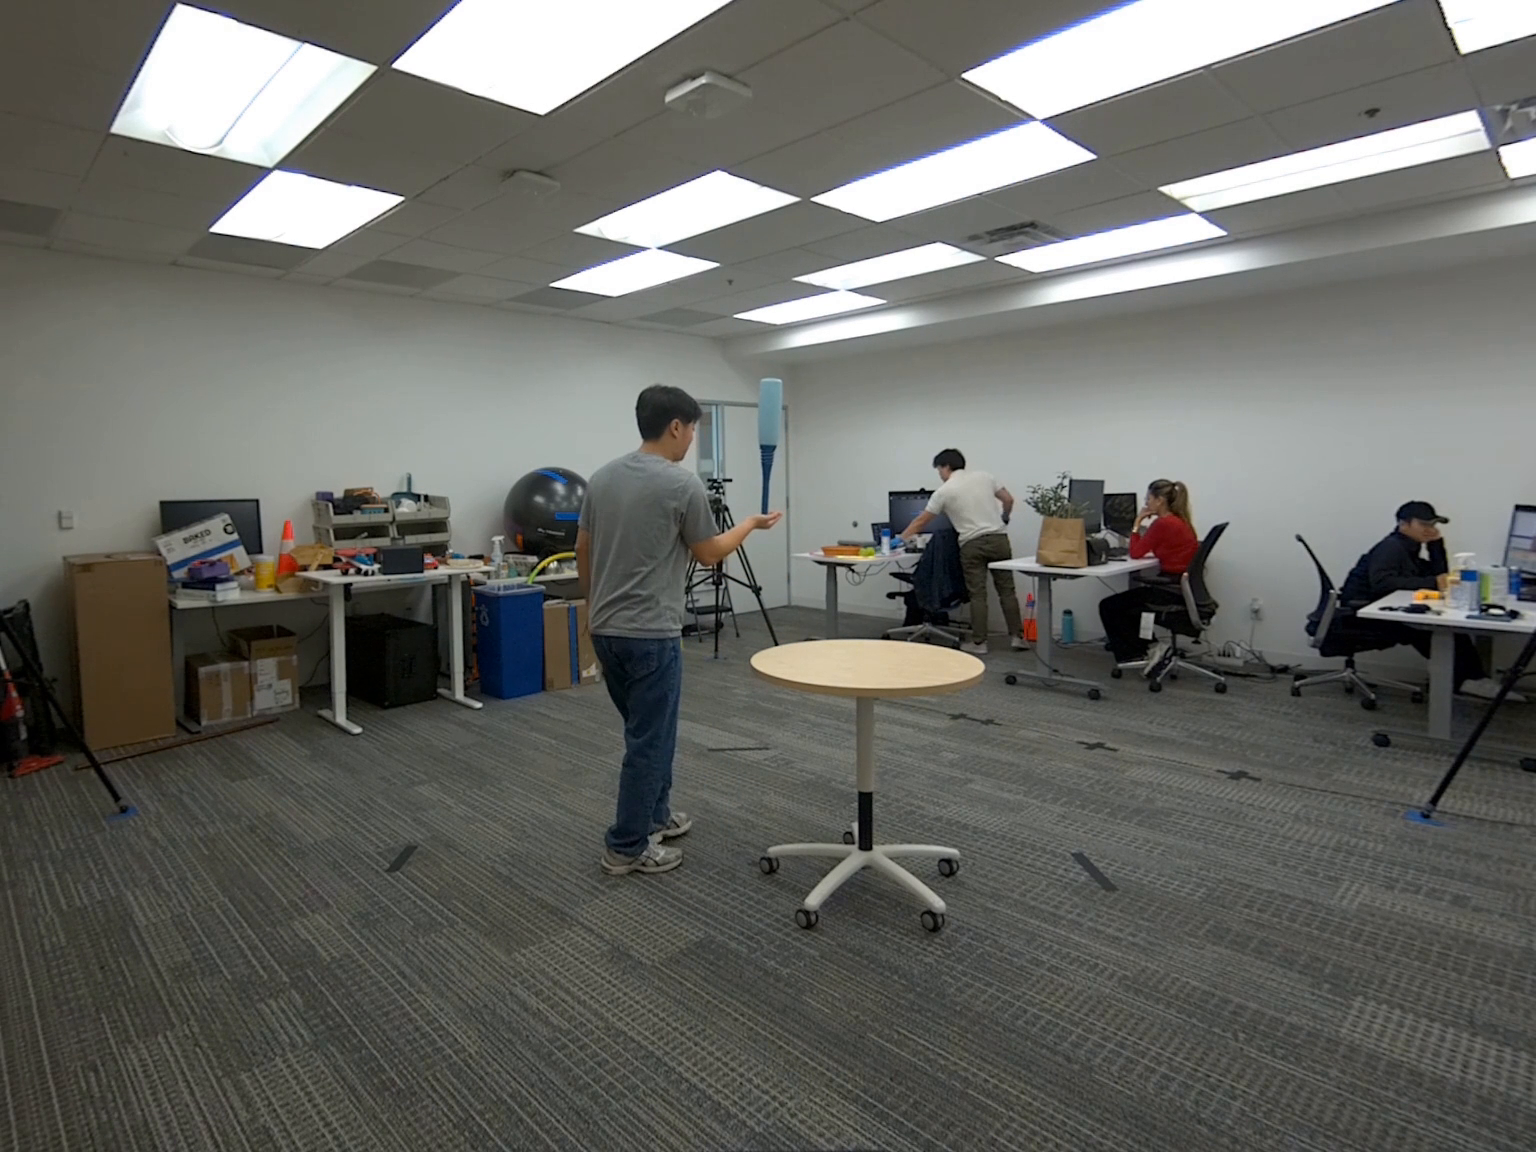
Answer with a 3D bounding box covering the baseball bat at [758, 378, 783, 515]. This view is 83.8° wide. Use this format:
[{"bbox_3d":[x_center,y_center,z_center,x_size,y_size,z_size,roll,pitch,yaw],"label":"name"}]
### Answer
[{"bbox_3d":[0.004,-0.485,3.272,0.089,0.541,0.089,3,5,-2],"label":"baseball bat"}]
